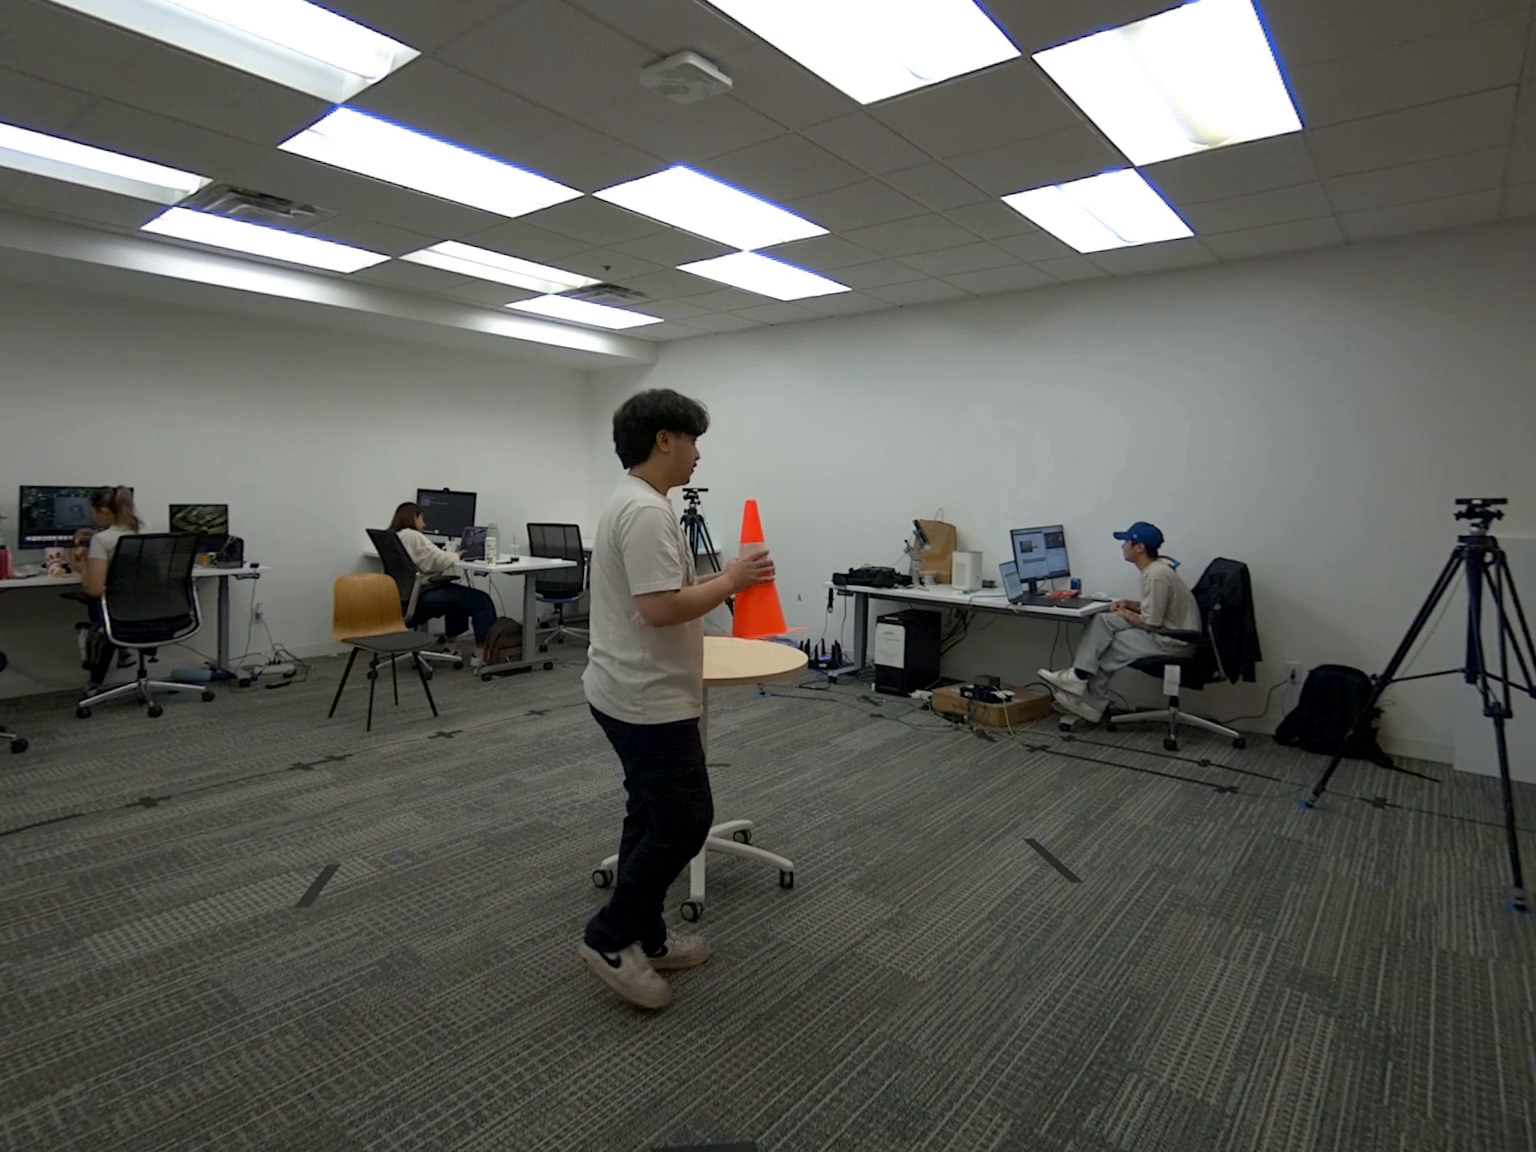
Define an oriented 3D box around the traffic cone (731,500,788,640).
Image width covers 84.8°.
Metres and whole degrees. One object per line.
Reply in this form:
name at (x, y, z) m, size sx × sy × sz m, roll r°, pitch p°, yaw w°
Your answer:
traffic cone at (-0.048, -0.022, 2.401) m, size 0.209 × 0.384 × 0.199 m, roll -3°, pitch -1°, yaw 23°
